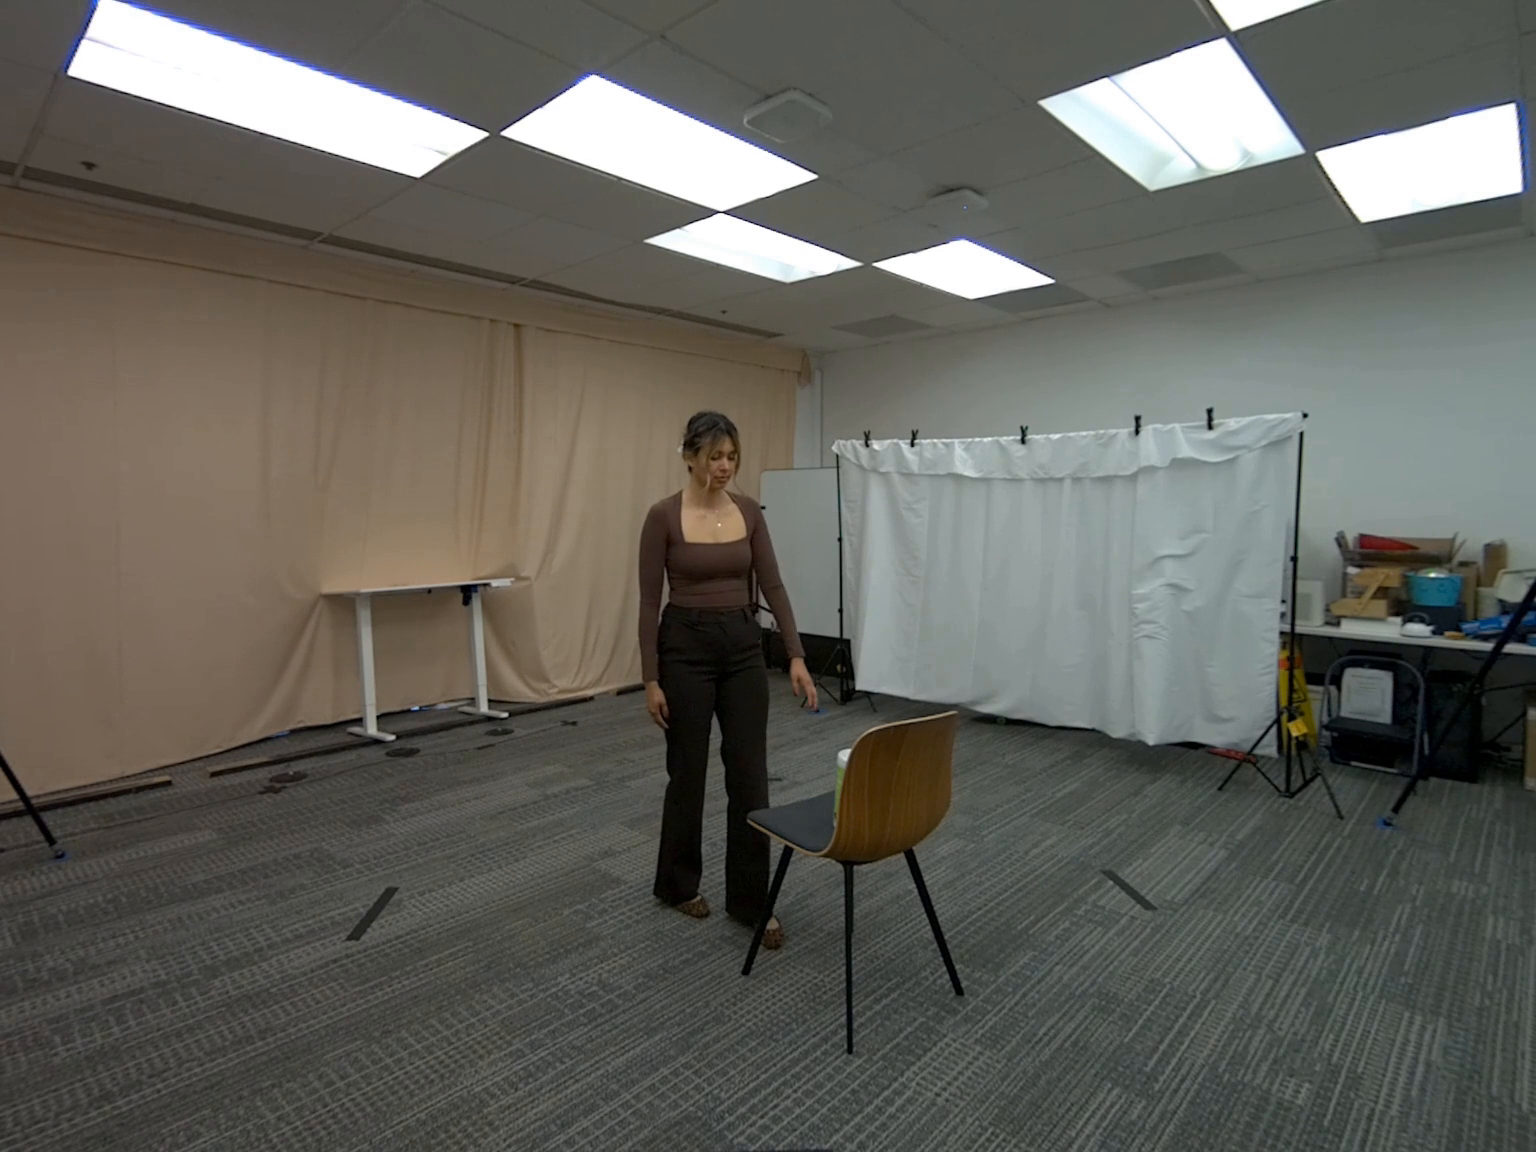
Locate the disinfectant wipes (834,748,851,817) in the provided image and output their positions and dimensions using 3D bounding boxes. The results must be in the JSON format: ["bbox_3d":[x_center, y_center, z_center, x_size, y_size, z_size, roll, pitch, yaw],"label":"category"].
[{"bbox_3d":[0.264,0.621,2.390,0.117,0.216,0.118,3,7,-2],"label":"disinfectant wipes"}]
